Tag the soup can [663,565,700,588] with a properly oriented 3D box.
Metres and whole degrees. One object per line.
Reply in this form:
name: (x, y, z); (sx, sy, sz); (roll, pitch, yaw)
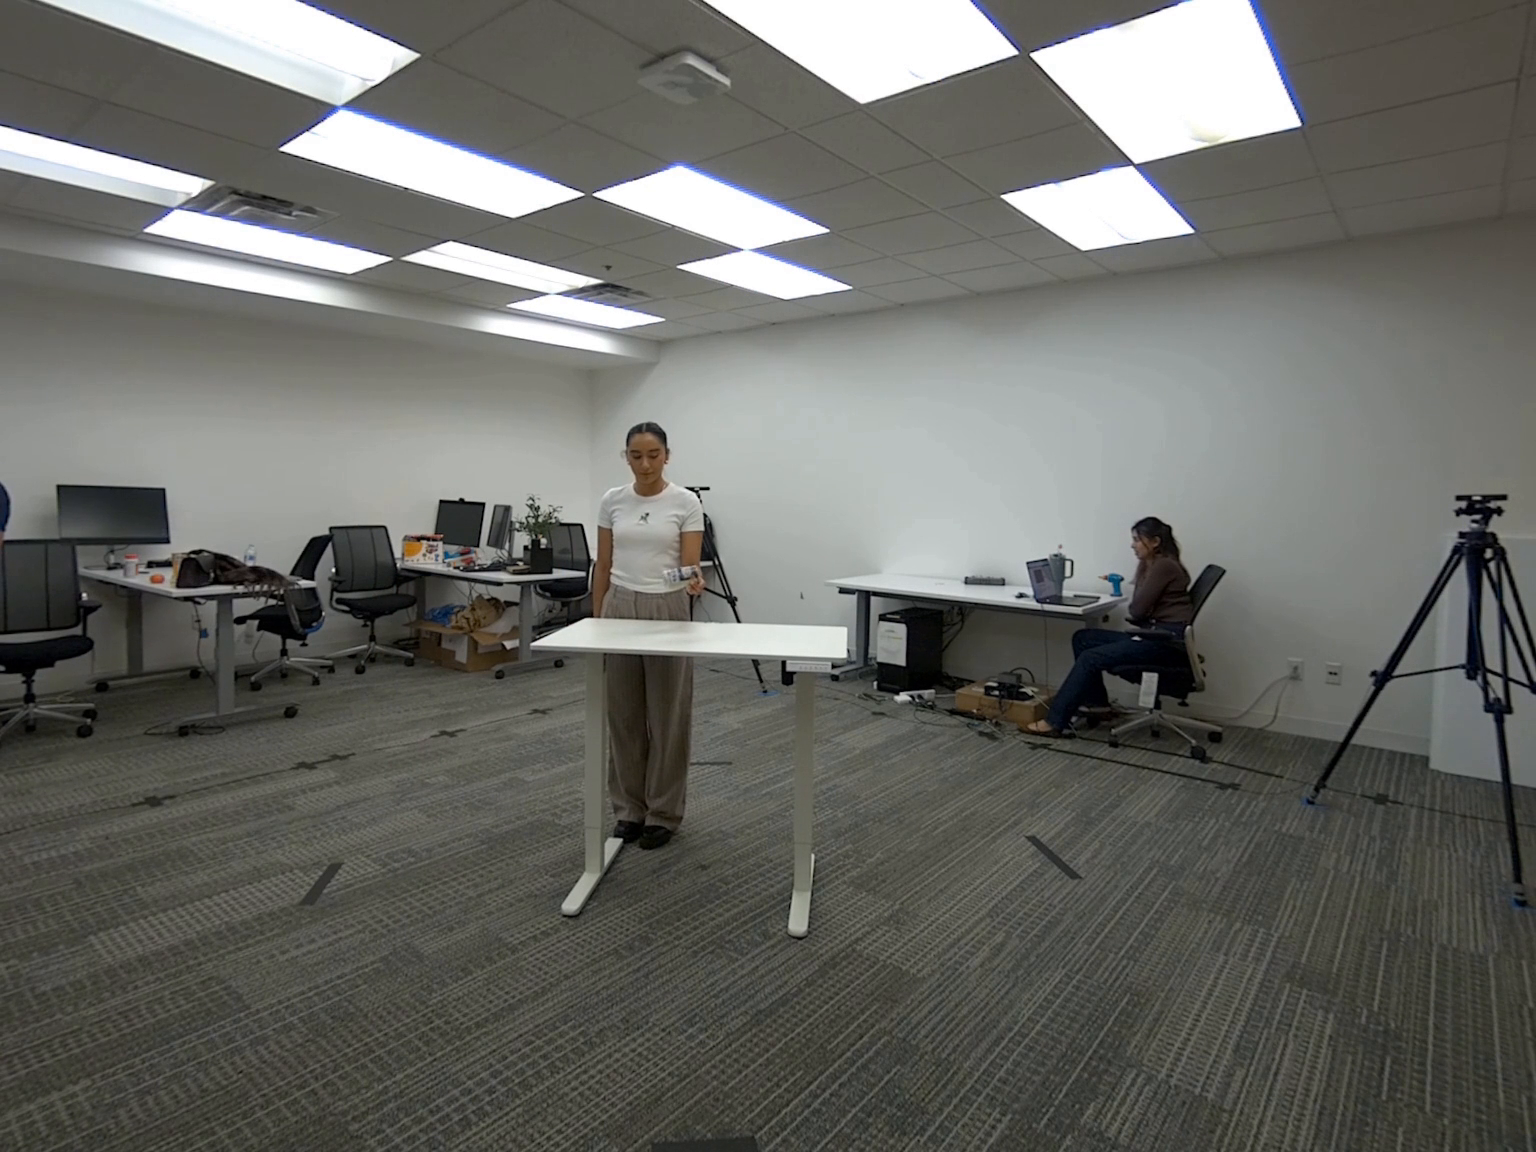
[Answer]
soup can: (-0.298, -0.005, 2.953); (0.120, 0.067, 0.068); (-7, 6, -11)
